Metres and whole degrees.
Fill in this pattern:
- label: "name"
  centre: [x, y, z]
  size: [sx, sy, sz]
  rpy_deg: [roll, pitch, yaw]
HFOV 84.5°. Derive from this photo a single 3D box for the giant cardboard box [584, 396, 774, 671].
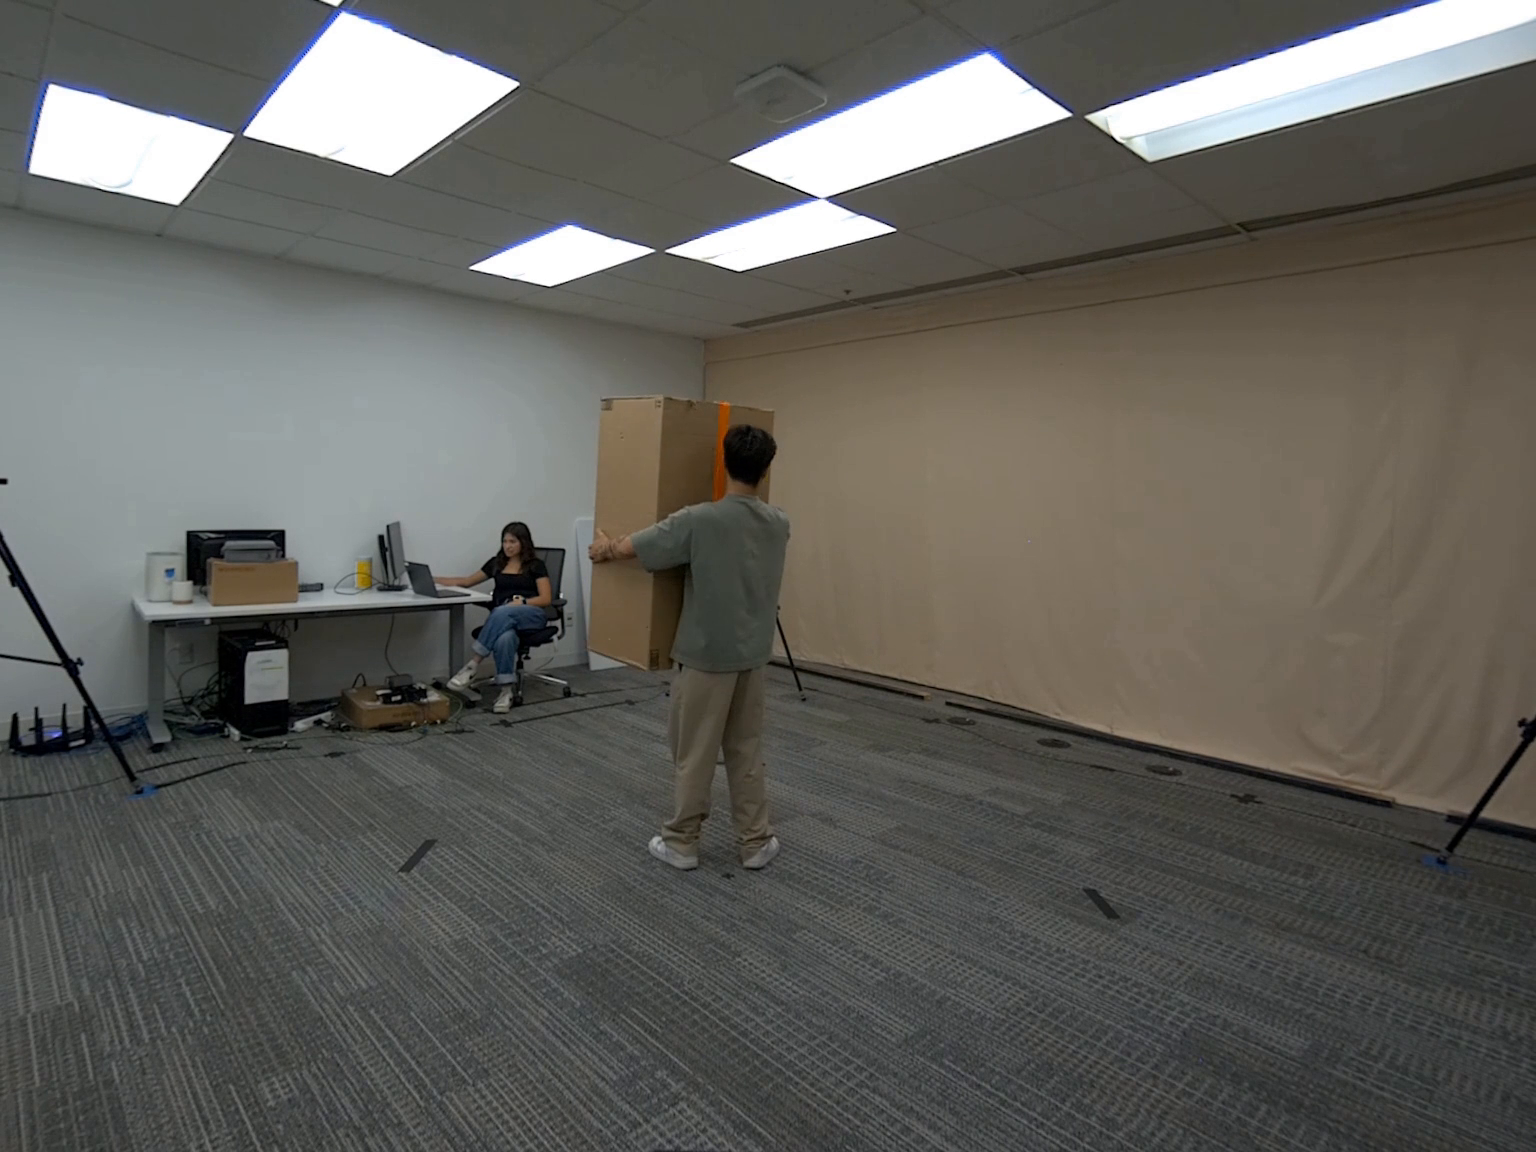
- label: "giant cardboard box"
  centre: [-0.355, -0.186, 3.428]
  size: [0.564, 1.022, 0.438]
  rpy_deg: [-1, 7, -43]
